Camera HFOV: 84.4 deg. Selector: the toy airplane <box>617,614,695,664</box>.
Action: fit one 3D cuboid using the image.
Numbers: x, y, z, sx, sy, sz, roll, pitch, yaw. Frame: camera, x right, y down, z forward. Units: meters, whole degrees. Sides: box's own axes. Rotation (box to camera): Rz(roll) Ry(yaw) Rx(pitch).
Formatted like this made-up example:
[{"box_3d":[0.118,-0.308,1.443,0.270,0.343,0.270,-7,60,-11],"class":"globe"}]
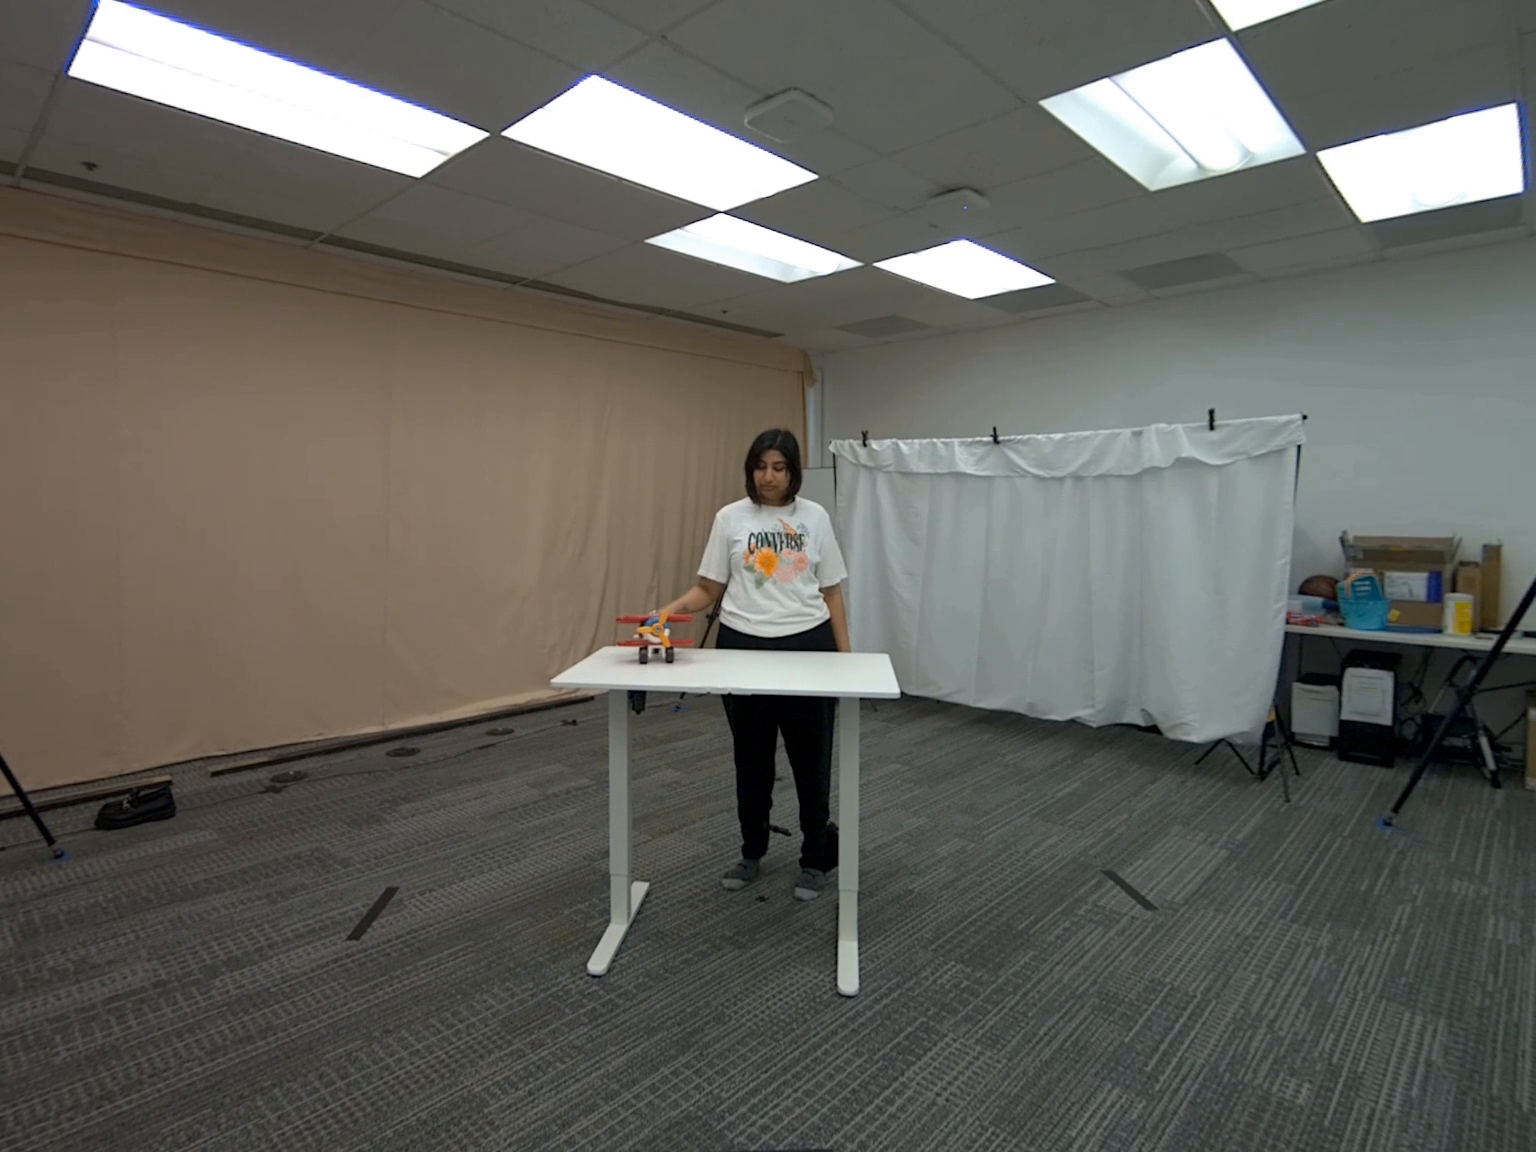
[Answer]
[{"box_3d":[-0.395,0.201,2.804,0.244,0.156,0.267,-5,6,-34],"class":"toy airplane"}]
